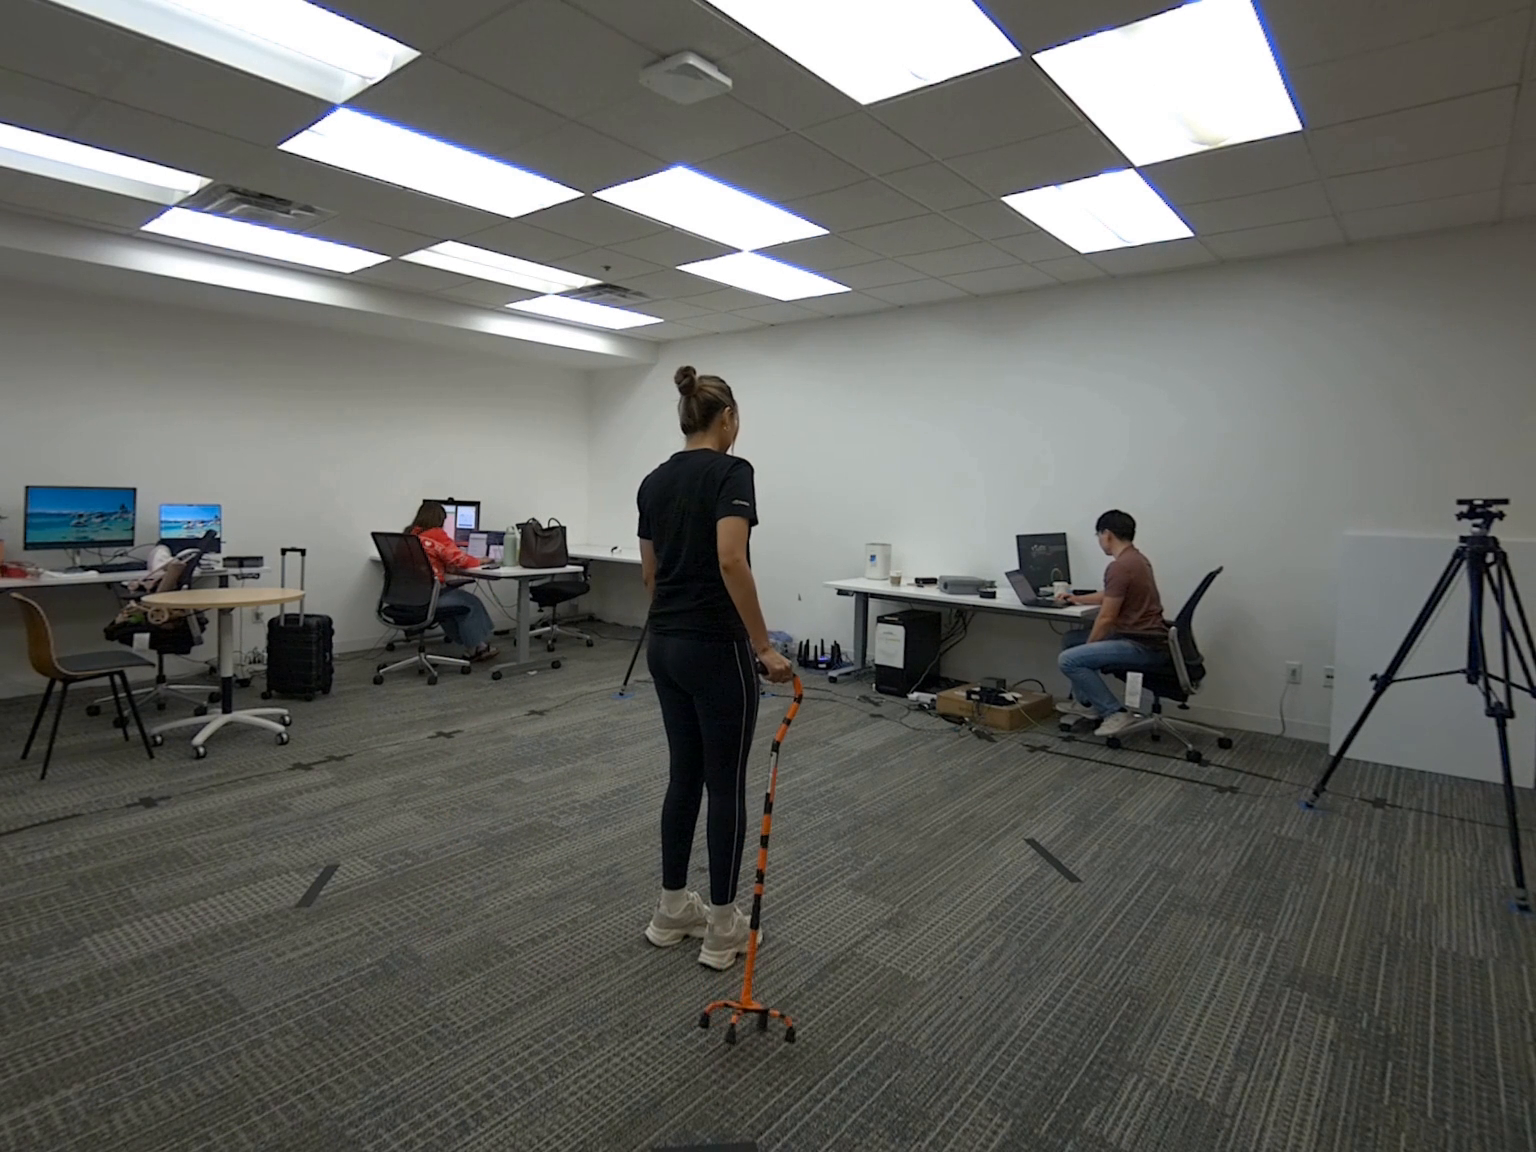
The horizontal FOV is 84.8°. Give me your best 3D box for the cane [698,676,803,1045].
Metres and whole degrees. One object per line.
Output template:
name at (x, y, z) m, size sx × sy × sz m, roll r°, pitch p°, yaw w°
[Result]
cane at (0.000, 0.693, 2.238) m, size 0.200 × 0.919 × 0.154 m, roll 14°, pitch -17°, yaw -26°
